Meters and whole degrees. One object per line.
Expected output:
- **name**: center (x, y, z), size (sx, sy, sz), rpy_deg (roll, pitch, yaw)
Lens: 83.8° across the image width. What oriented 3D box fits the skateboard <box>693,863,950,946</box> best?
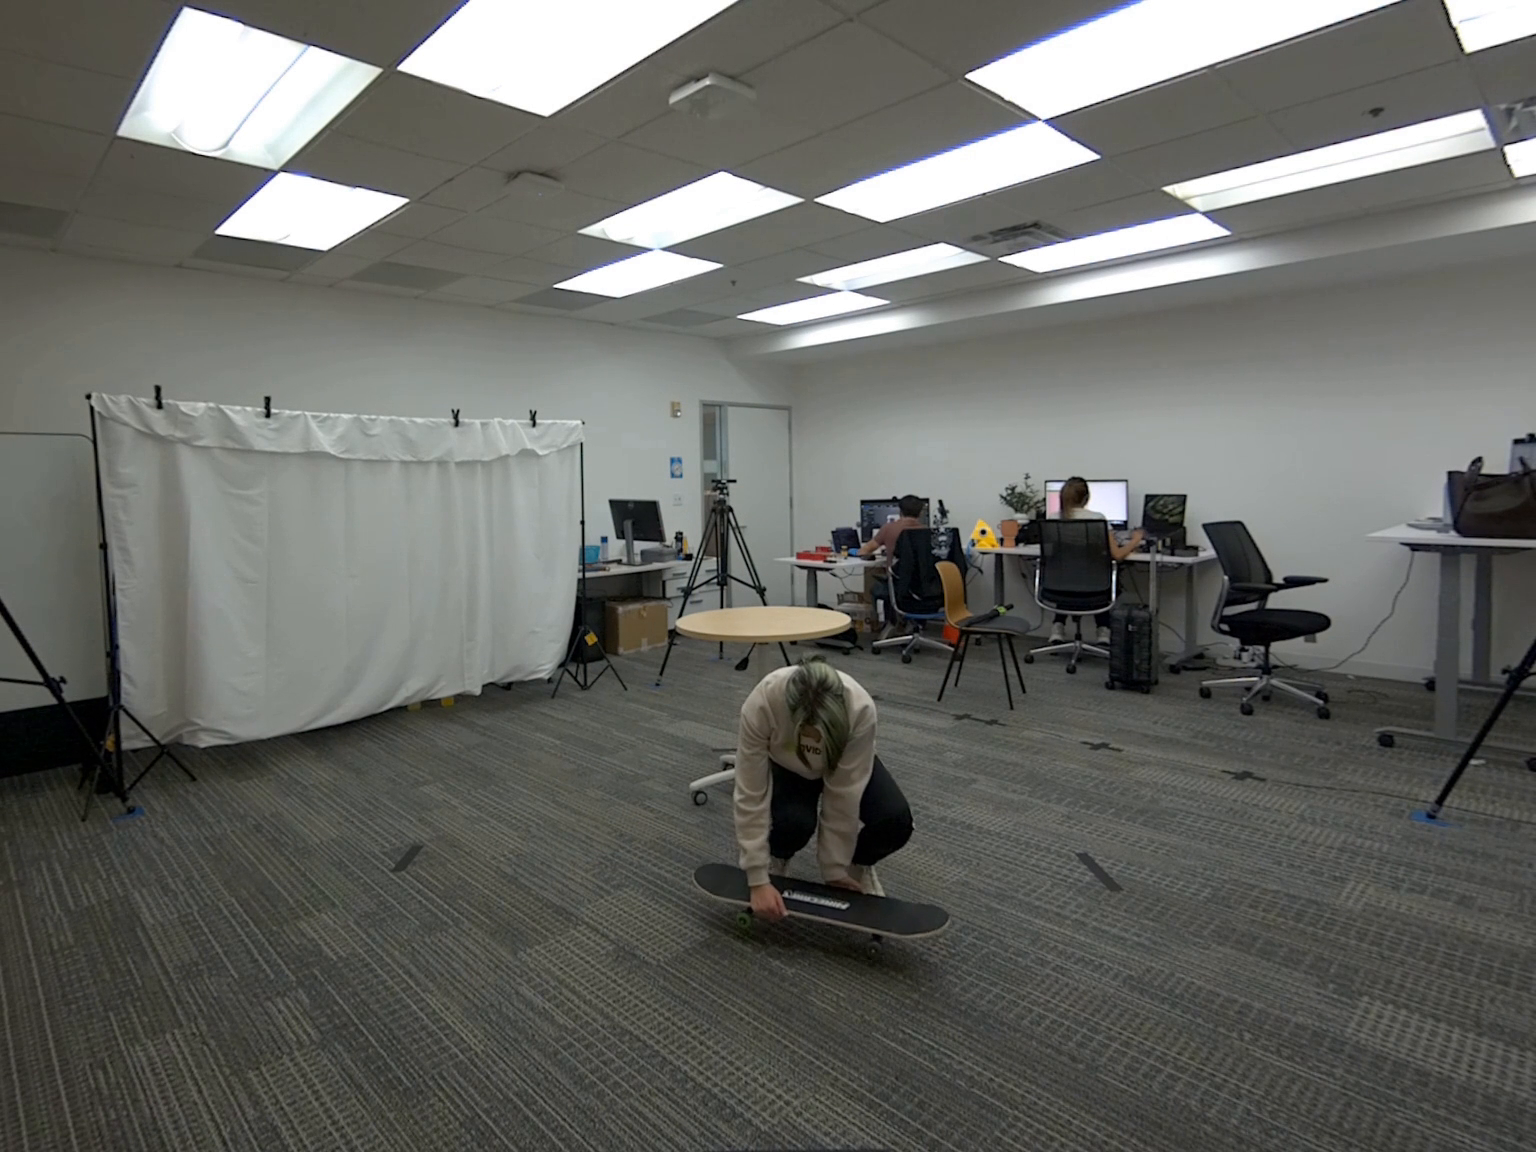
- **skateboard**: center (0.141, 0.995, 2.569), size (0.802, 0.110, 0.190), rpy_deg (3, 8, 22)
